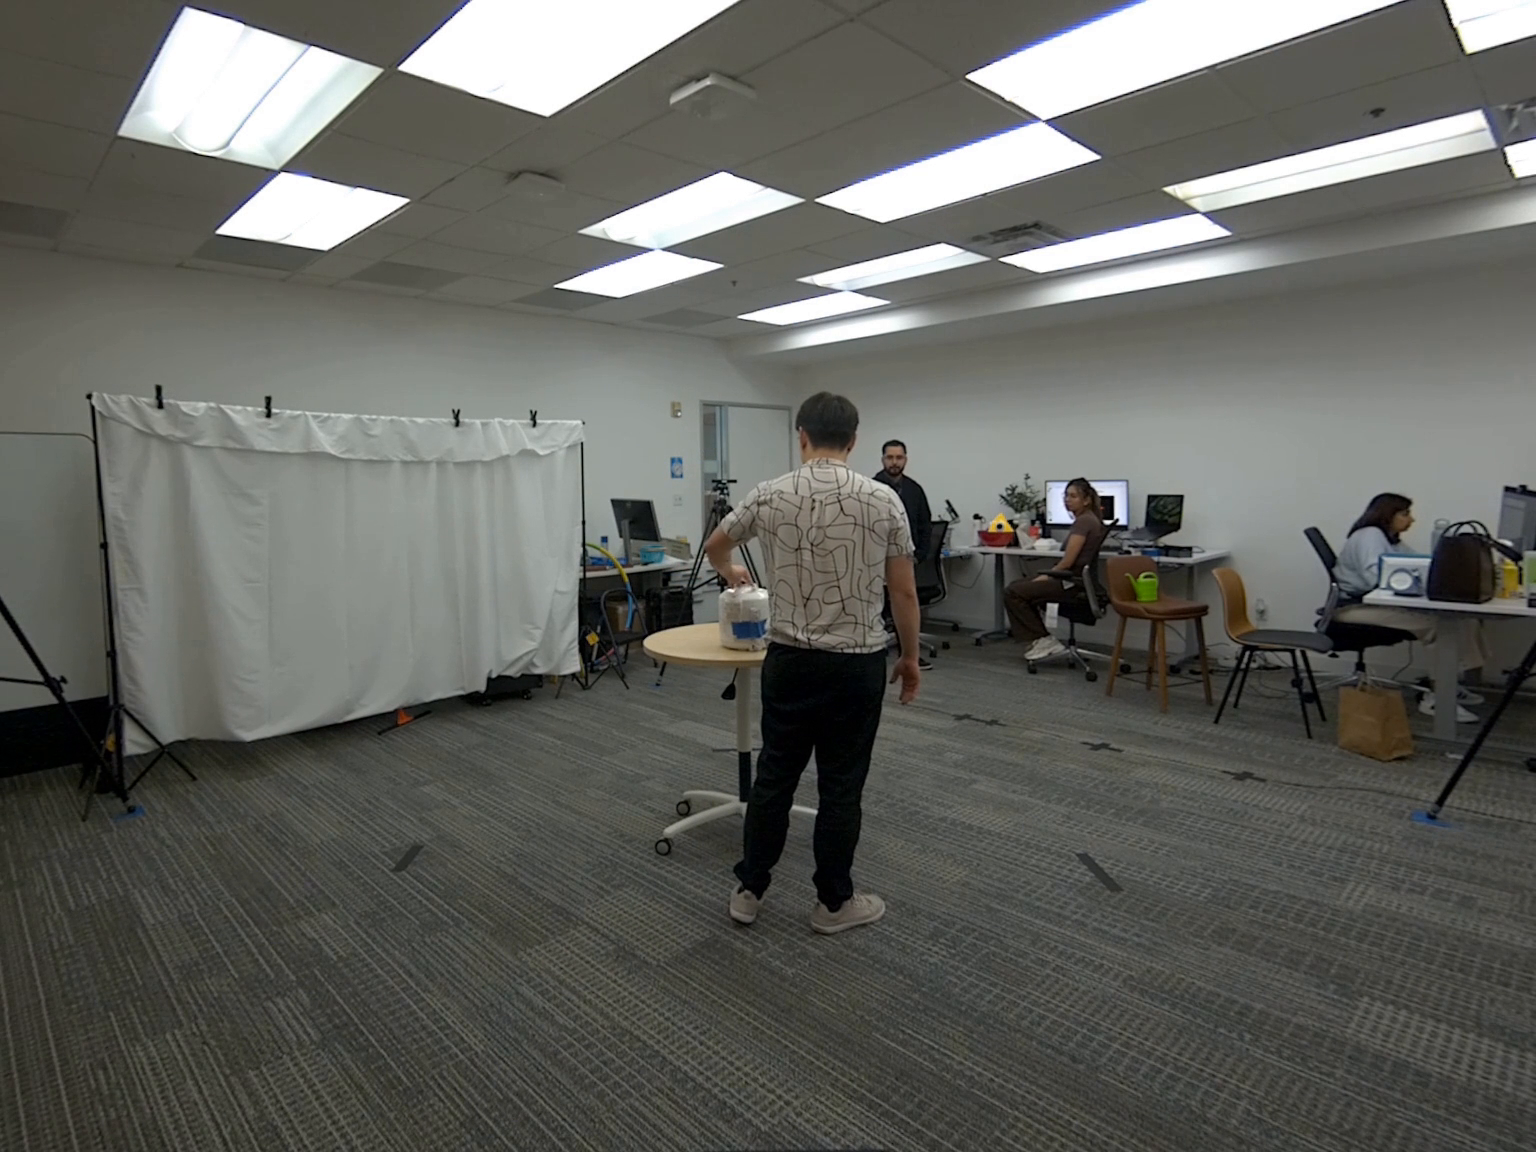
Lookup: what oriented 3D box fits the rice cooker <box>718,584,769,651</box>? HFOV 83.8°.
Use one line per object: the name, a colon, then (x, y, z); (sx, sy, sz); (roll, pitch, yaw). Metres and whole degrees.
rice cooker: (-0.079, 0.142, 3.158); (0.223, 0.232, 0.216); (3, 6, 30)
